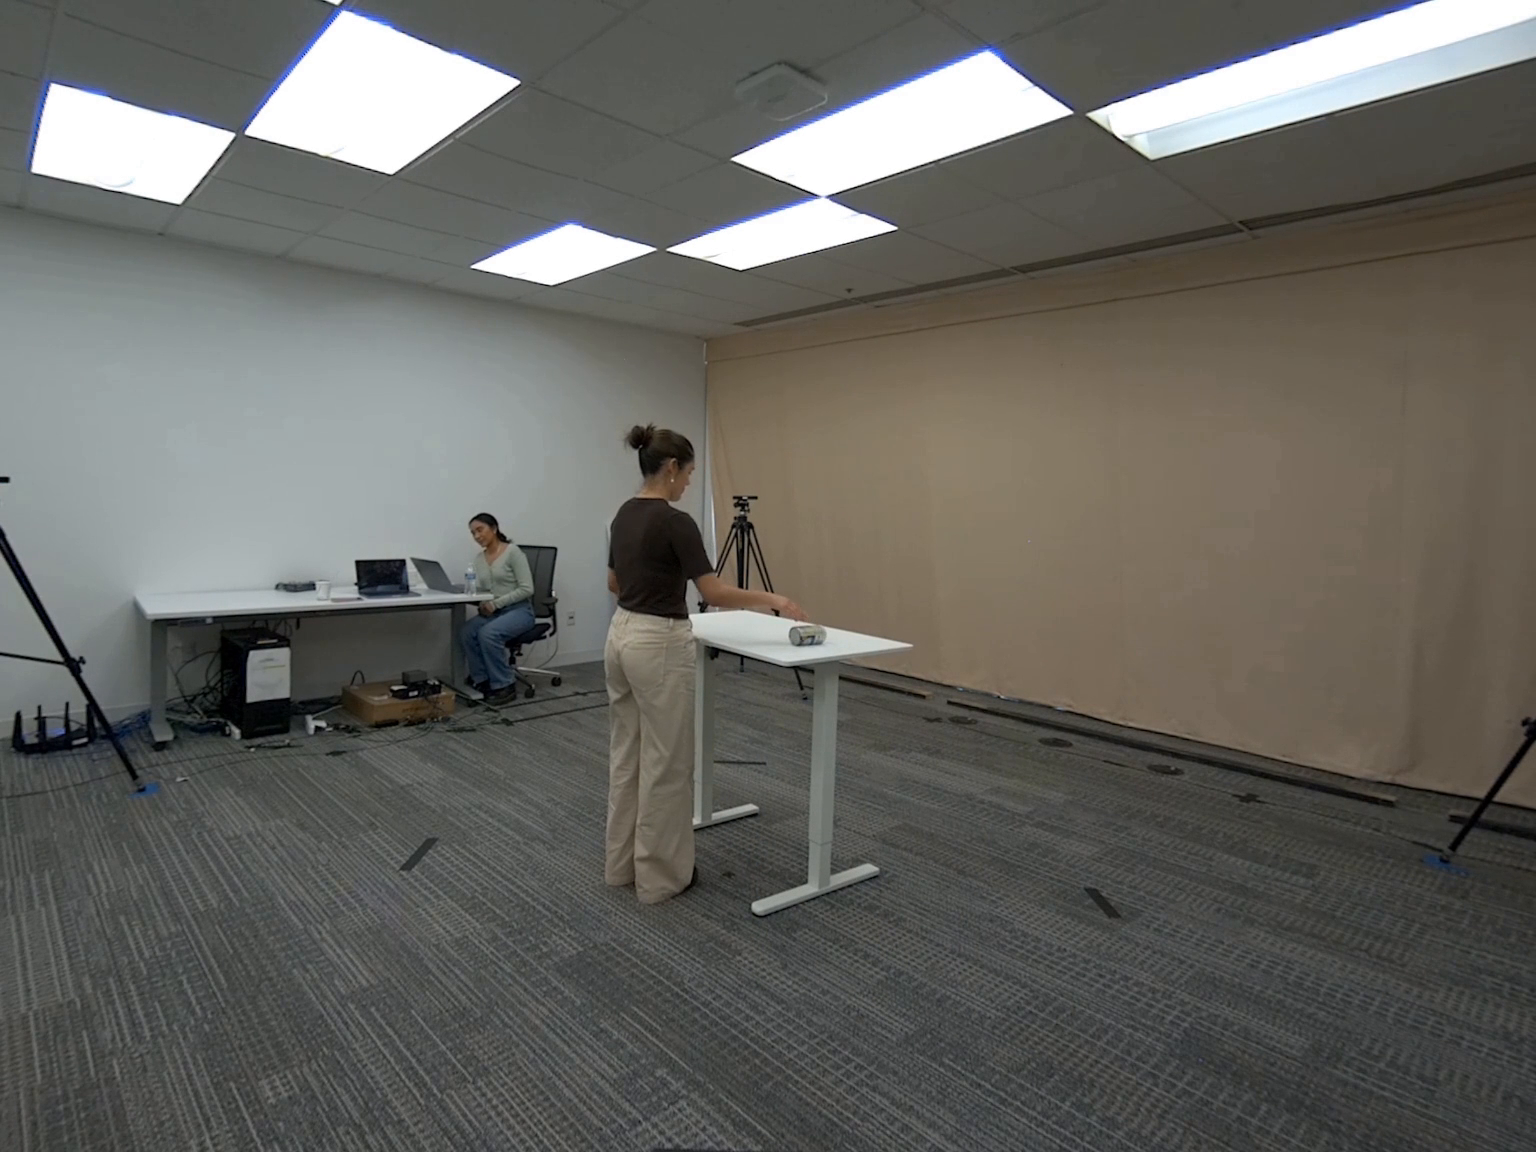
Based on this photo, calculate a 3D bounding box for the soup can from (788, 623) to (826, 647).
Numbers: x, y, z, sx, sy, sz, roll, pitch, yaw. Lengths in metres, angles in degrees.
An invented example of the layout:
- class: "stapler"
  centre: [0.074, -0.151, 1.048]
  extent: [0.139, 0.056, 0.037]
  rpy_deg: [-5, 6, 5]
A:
- class: "soup can"
  centre: [0.134, 0.208, 2.948]
  extent: [0.120, 0.067, 0.068]
  rpy_deg: [-1, 5, -21]
